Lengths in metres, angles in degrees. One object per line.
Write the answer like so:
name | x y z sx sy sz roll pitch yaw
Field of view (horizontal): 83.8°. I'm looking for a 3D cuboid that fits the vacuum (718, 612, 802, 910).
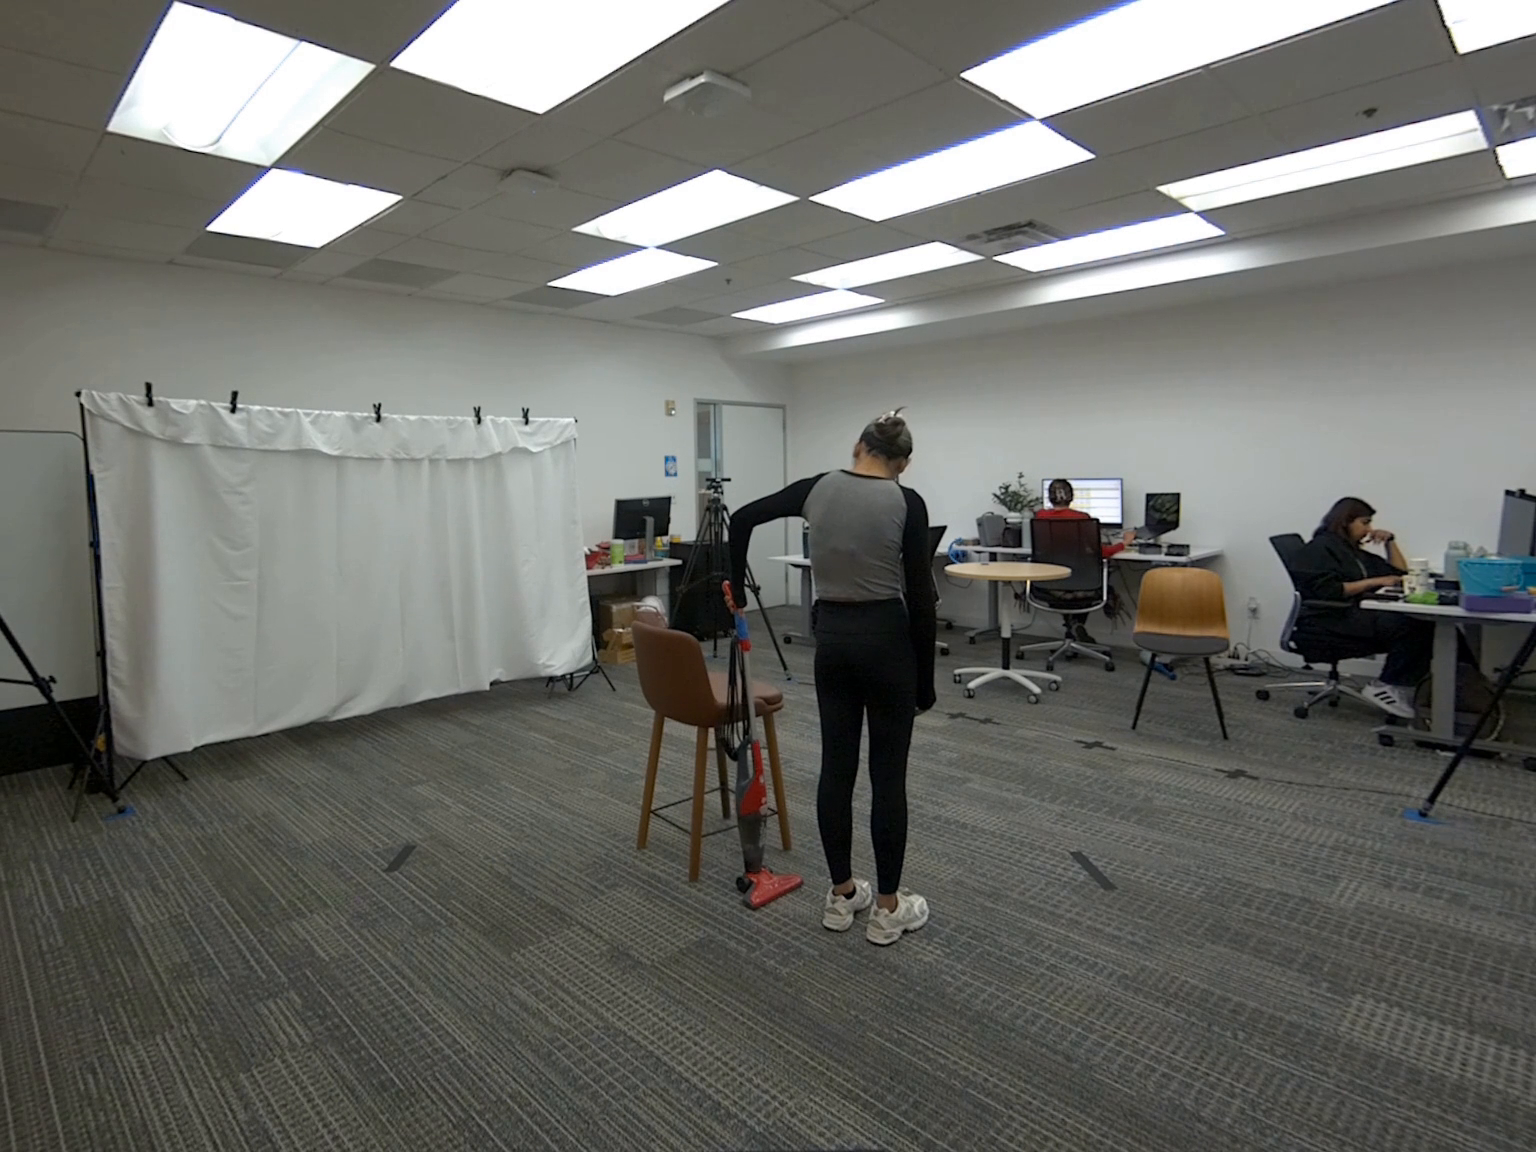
vacuum | -0.069 0.552 2.917 0.246 1.053 0.147 -4 -4 -40
